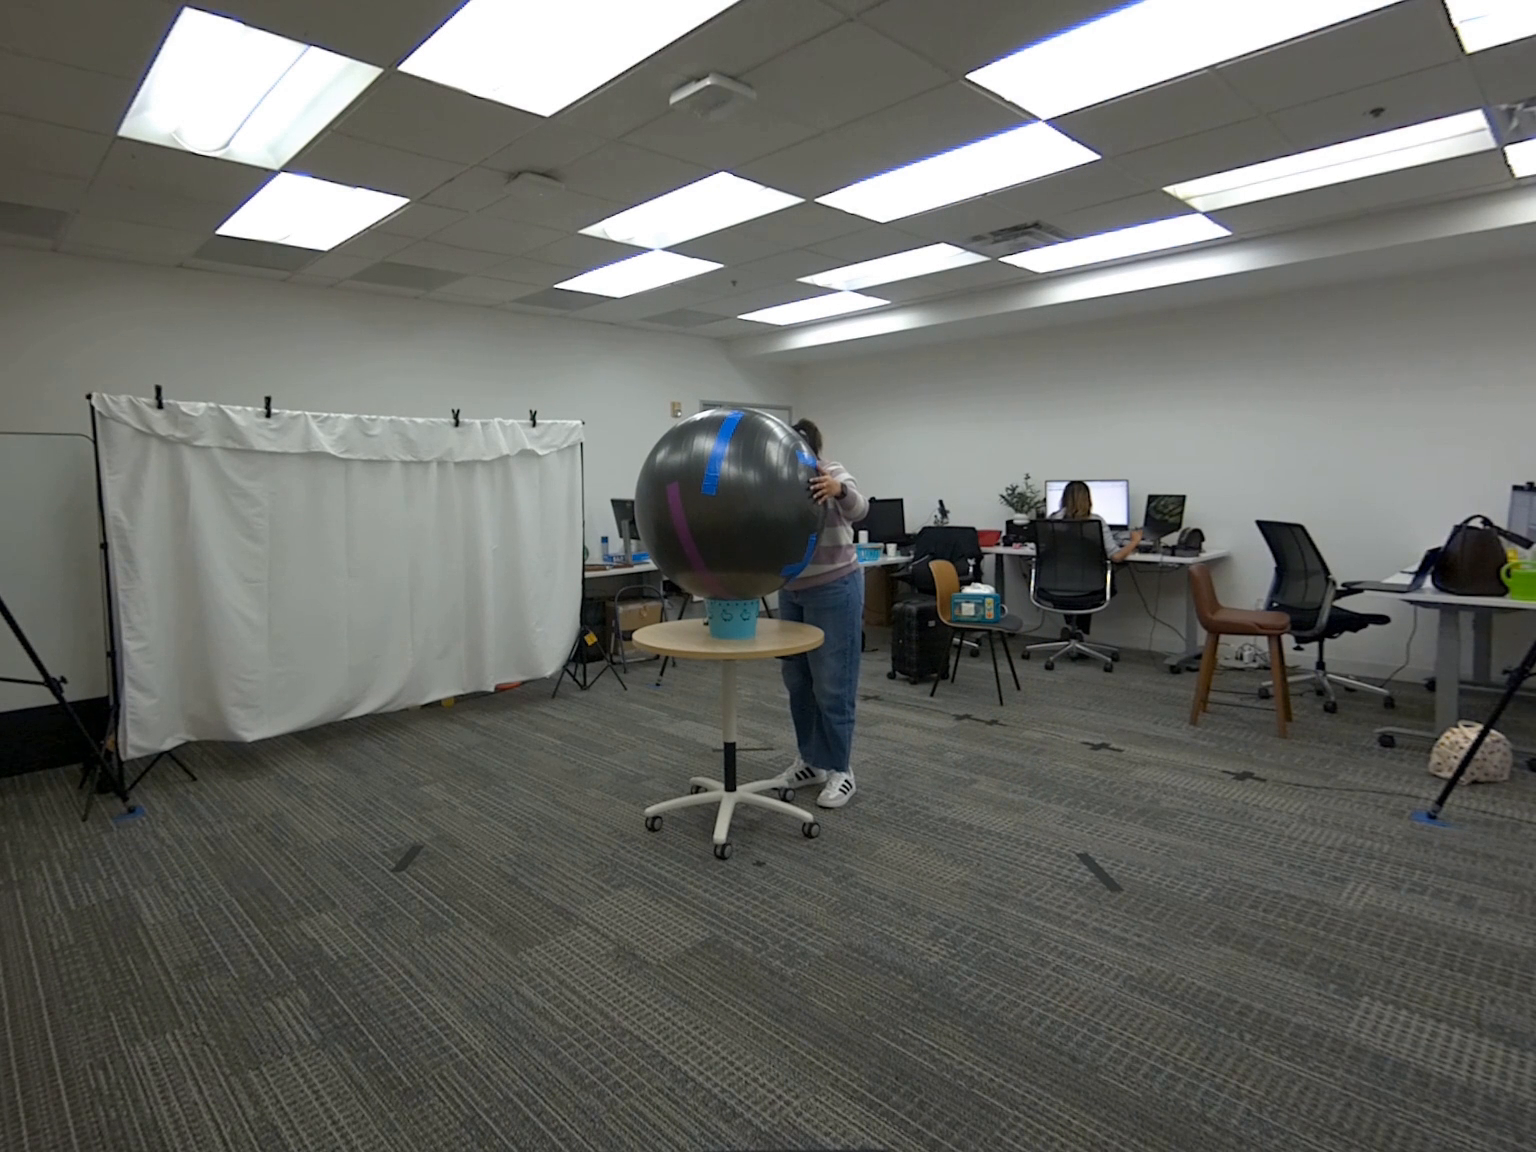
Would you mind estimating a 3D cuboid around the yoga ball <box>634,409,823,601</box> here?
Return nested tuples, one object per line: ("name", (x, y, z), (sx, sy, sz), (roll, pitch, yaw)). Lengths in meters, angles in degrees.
("yoga ball", (-0.152, -0.275, 3.354), (0.757, 0.755, 0.762), (-1, 5, -2))
